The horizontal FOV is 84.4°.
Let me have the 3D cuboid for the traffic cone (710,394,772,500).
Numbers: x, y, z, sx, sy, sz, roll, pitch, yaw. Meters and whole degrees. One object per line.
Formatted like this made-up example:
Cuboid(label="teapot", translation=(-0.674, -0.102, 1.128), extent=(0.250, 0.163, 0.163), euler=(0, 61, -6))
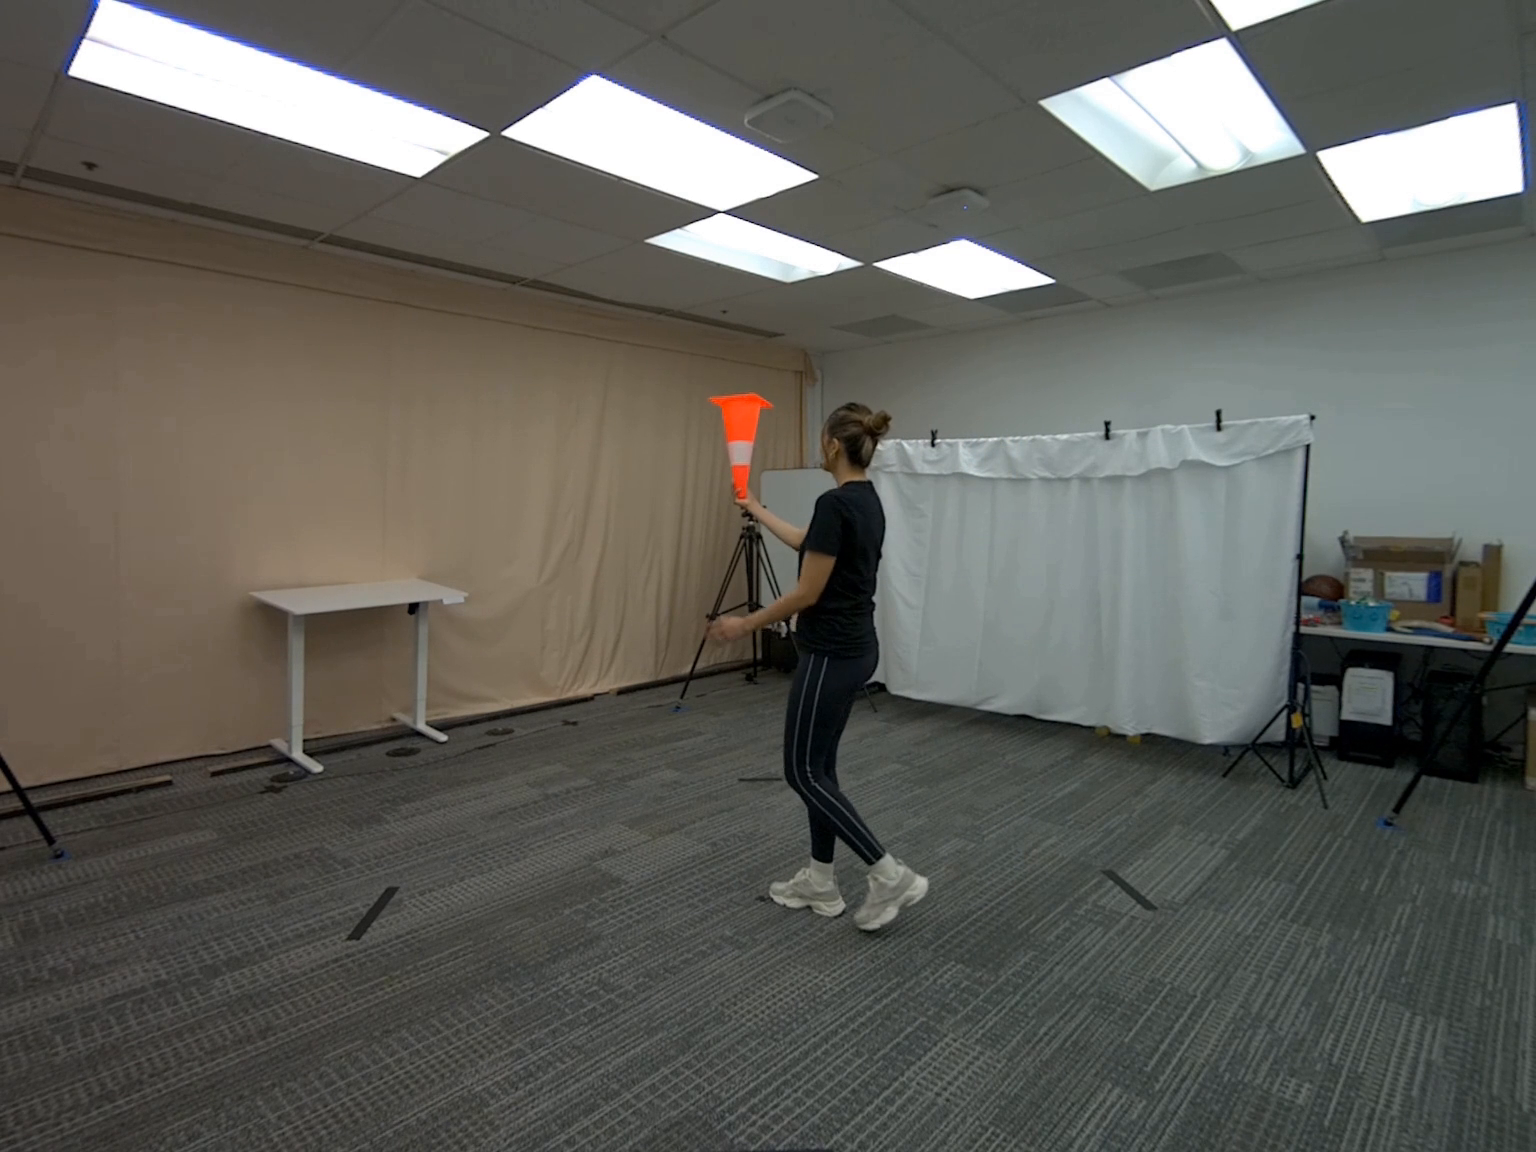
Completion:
Cuboid(label="traffic cone", translation=(-0.115, -0.496, 3.303), extent=(0.210, 0.384, 0.198), euler=(0, -4, 24))
